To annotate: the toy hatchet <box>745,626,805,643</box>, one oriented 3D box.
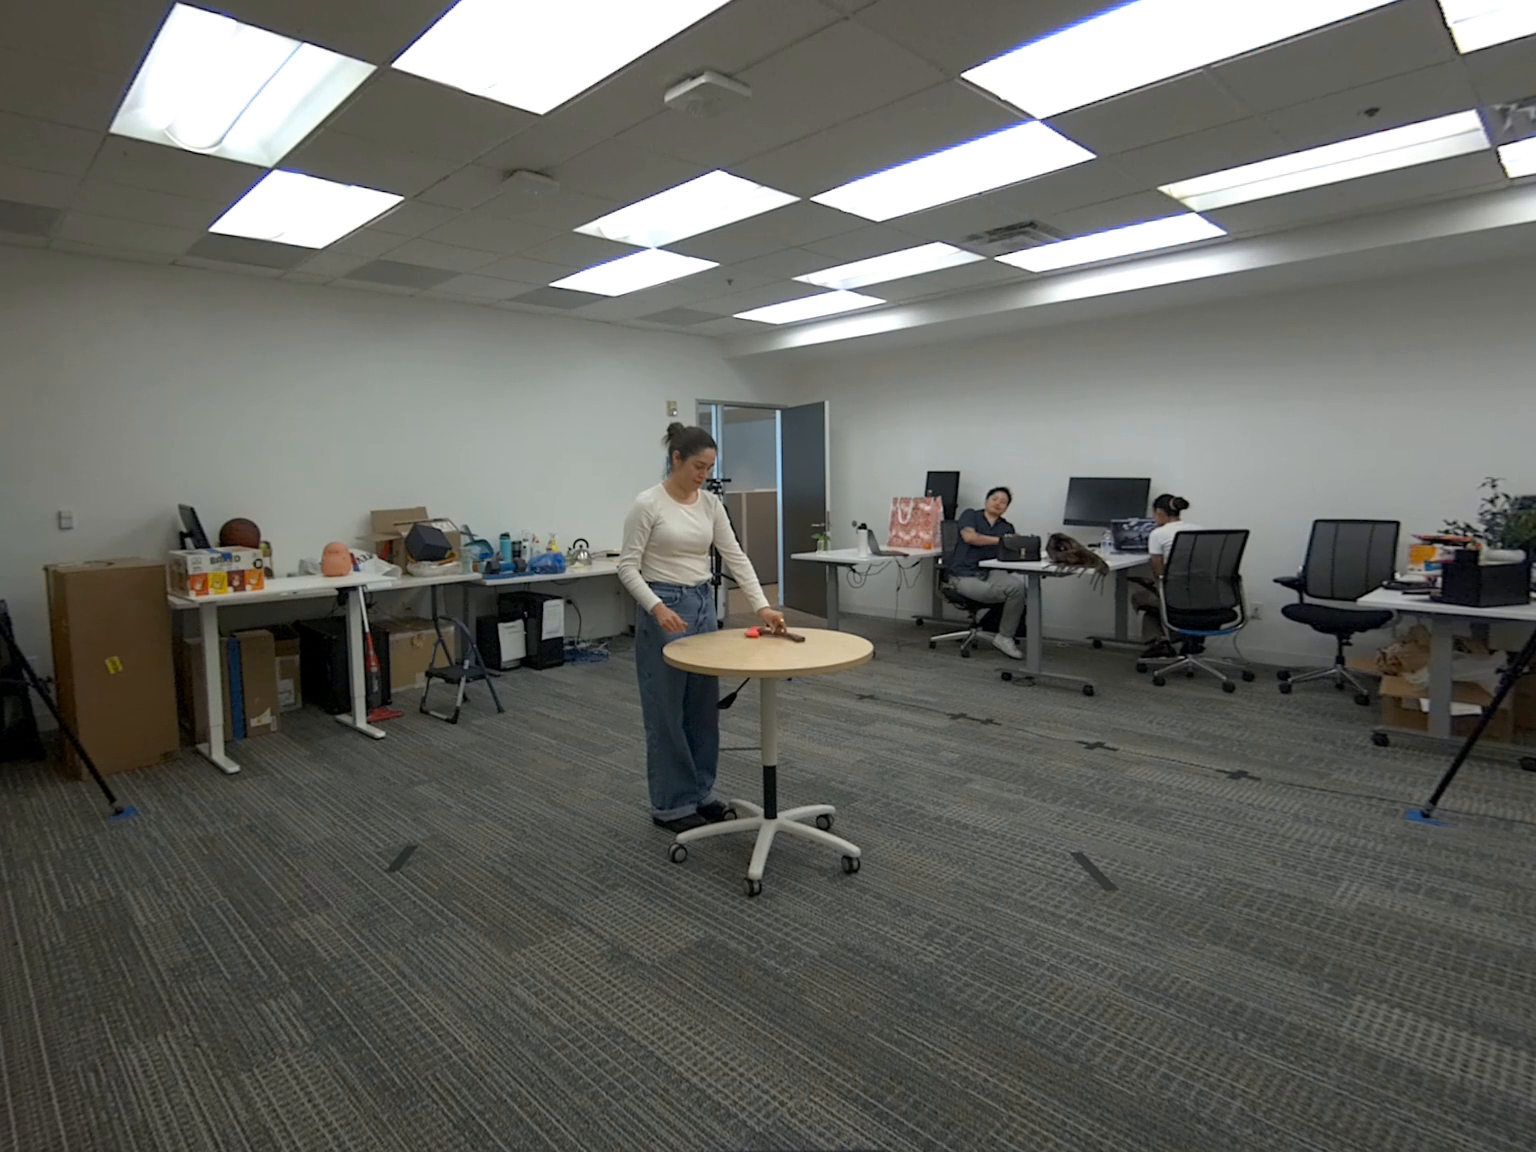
[{"bbox_3d":[0.014,0.224,3.259,0.128,0.029,0.278,-8,10,-34],"label":"toy hatchet"}]
